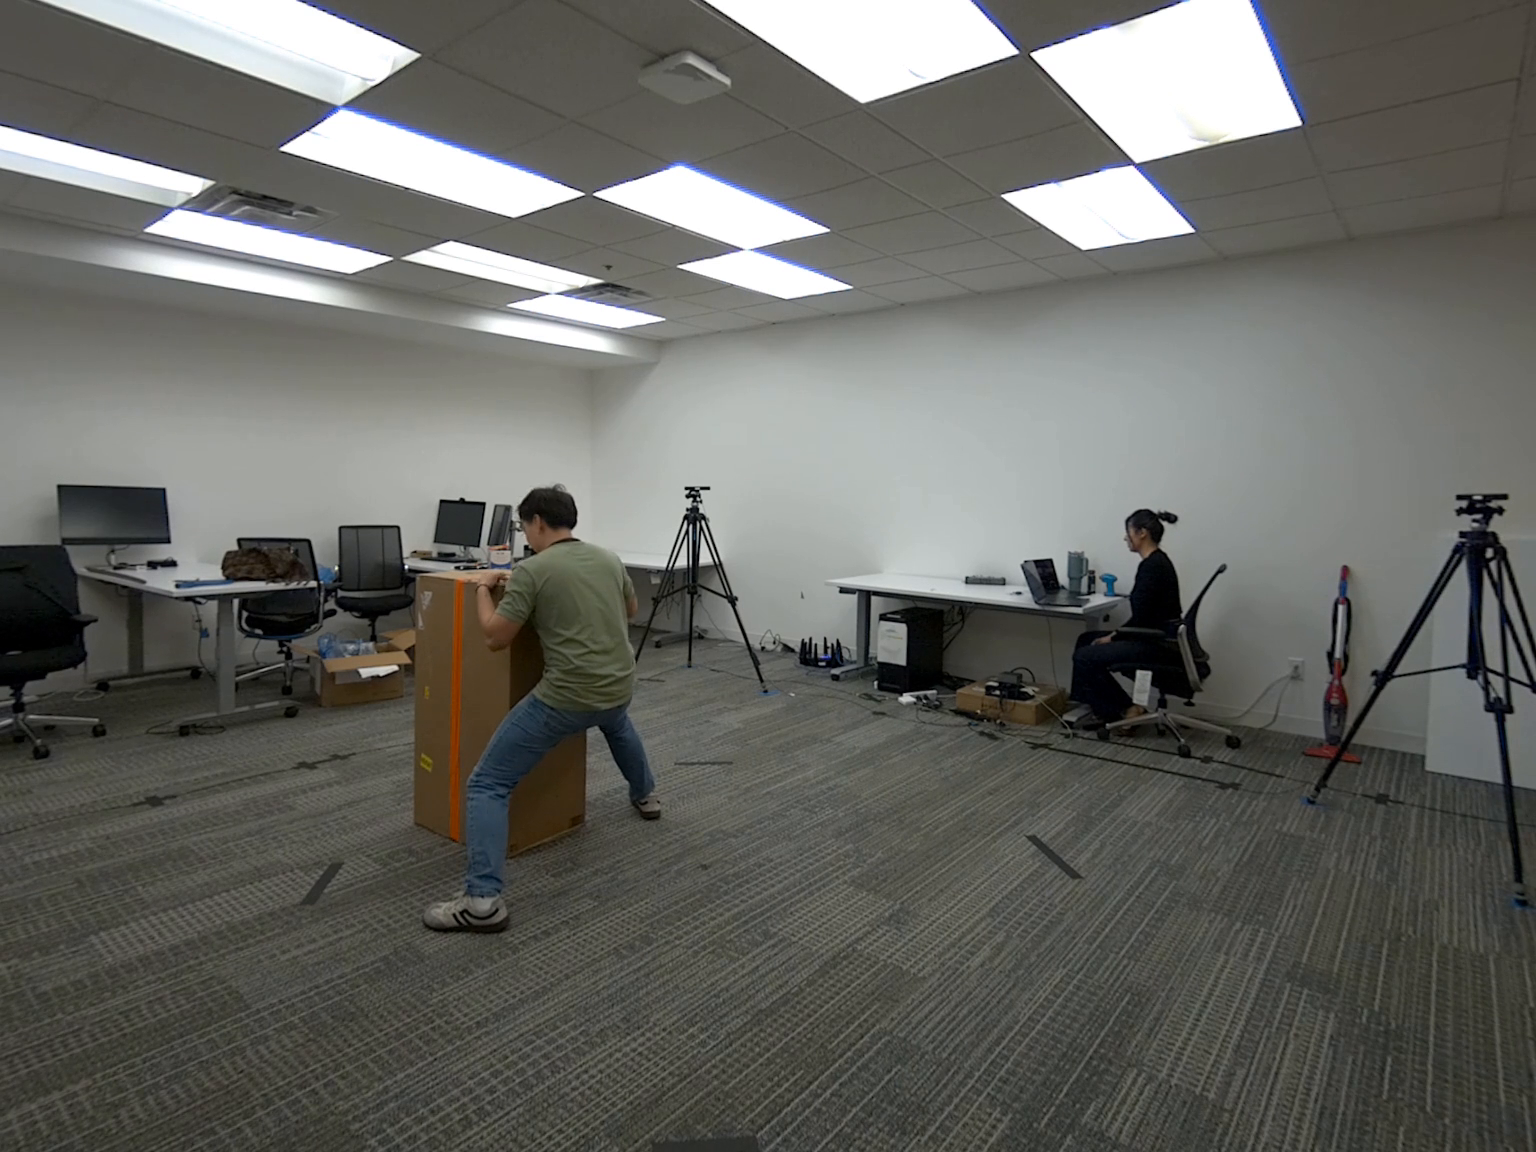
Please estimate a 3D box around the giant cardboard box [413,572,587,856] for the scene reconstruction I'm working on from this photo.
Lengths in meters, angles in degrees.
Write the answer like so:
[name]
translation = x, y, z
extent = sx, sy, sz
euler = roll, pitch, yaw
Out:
[giant cardboard box]
translation = -1.107, 0.512, 3.468
extent = 0.595, 1.023, 0.414
euler = 2, 3, 34
